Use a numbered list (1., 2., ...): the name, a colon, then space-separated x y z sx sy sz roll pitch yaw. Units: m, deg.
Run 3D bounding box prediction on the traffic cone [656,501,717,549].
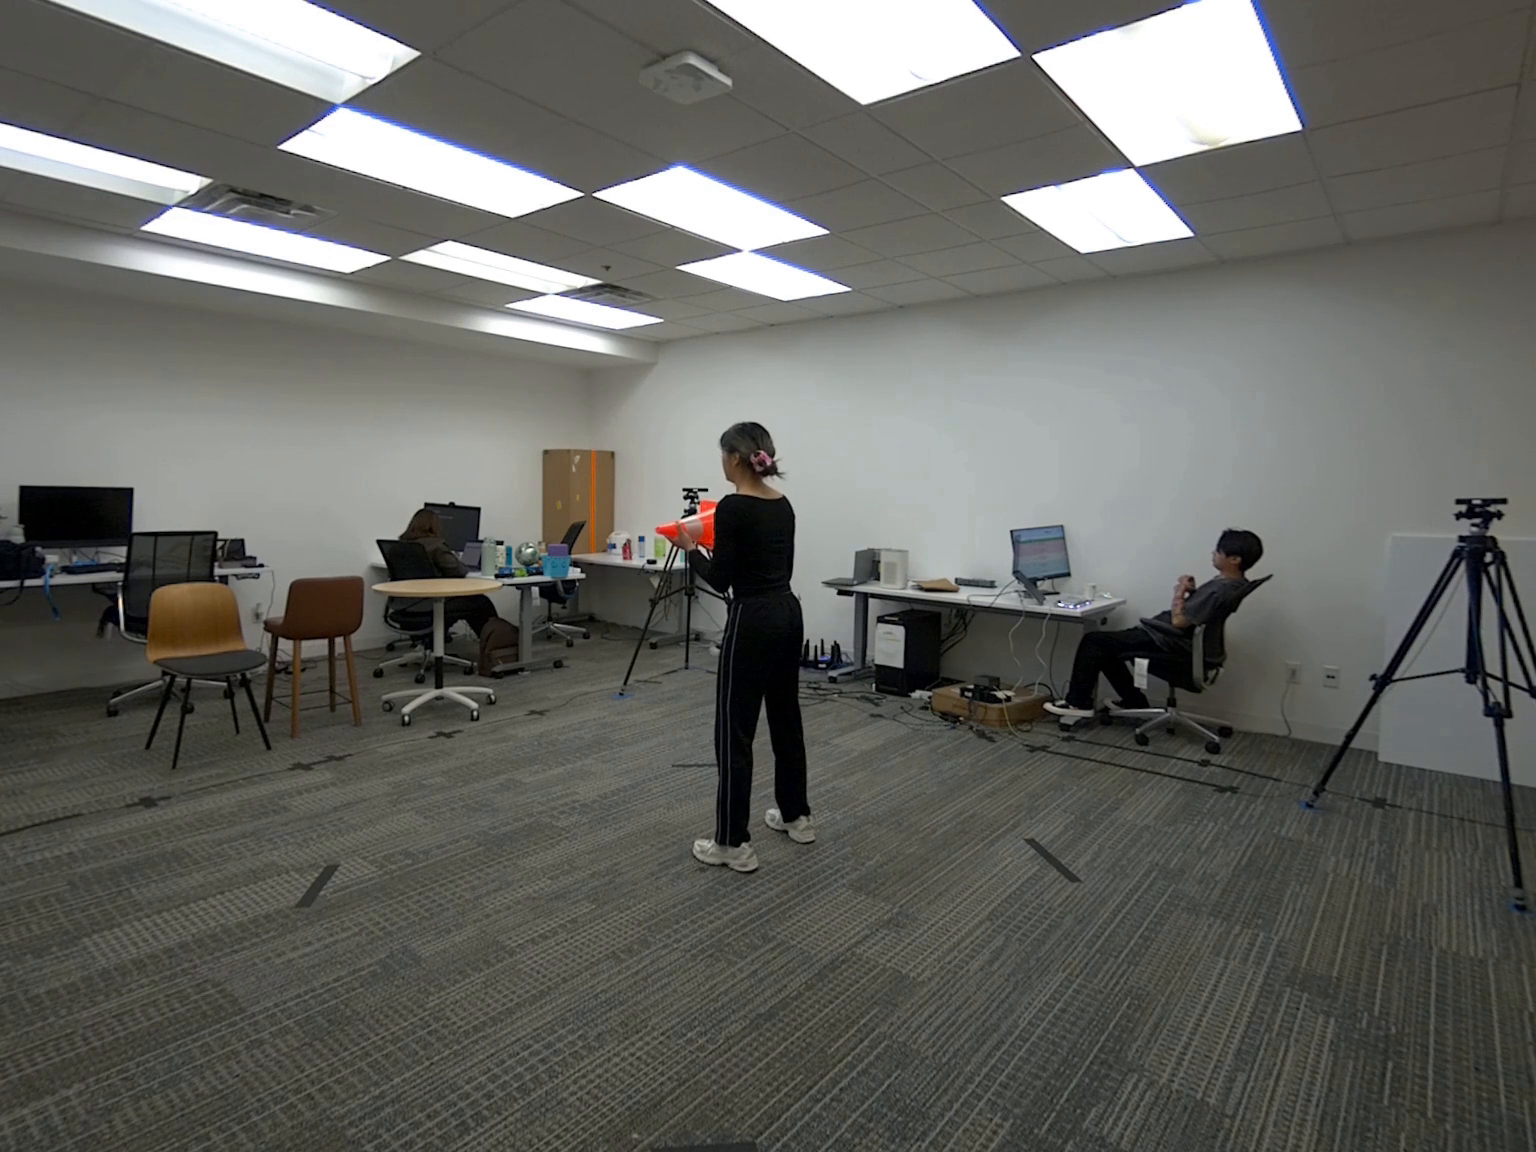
1. traffic cone: -0.317 -0.191 3.405 0.210 0.204 0.373 7 8 36
